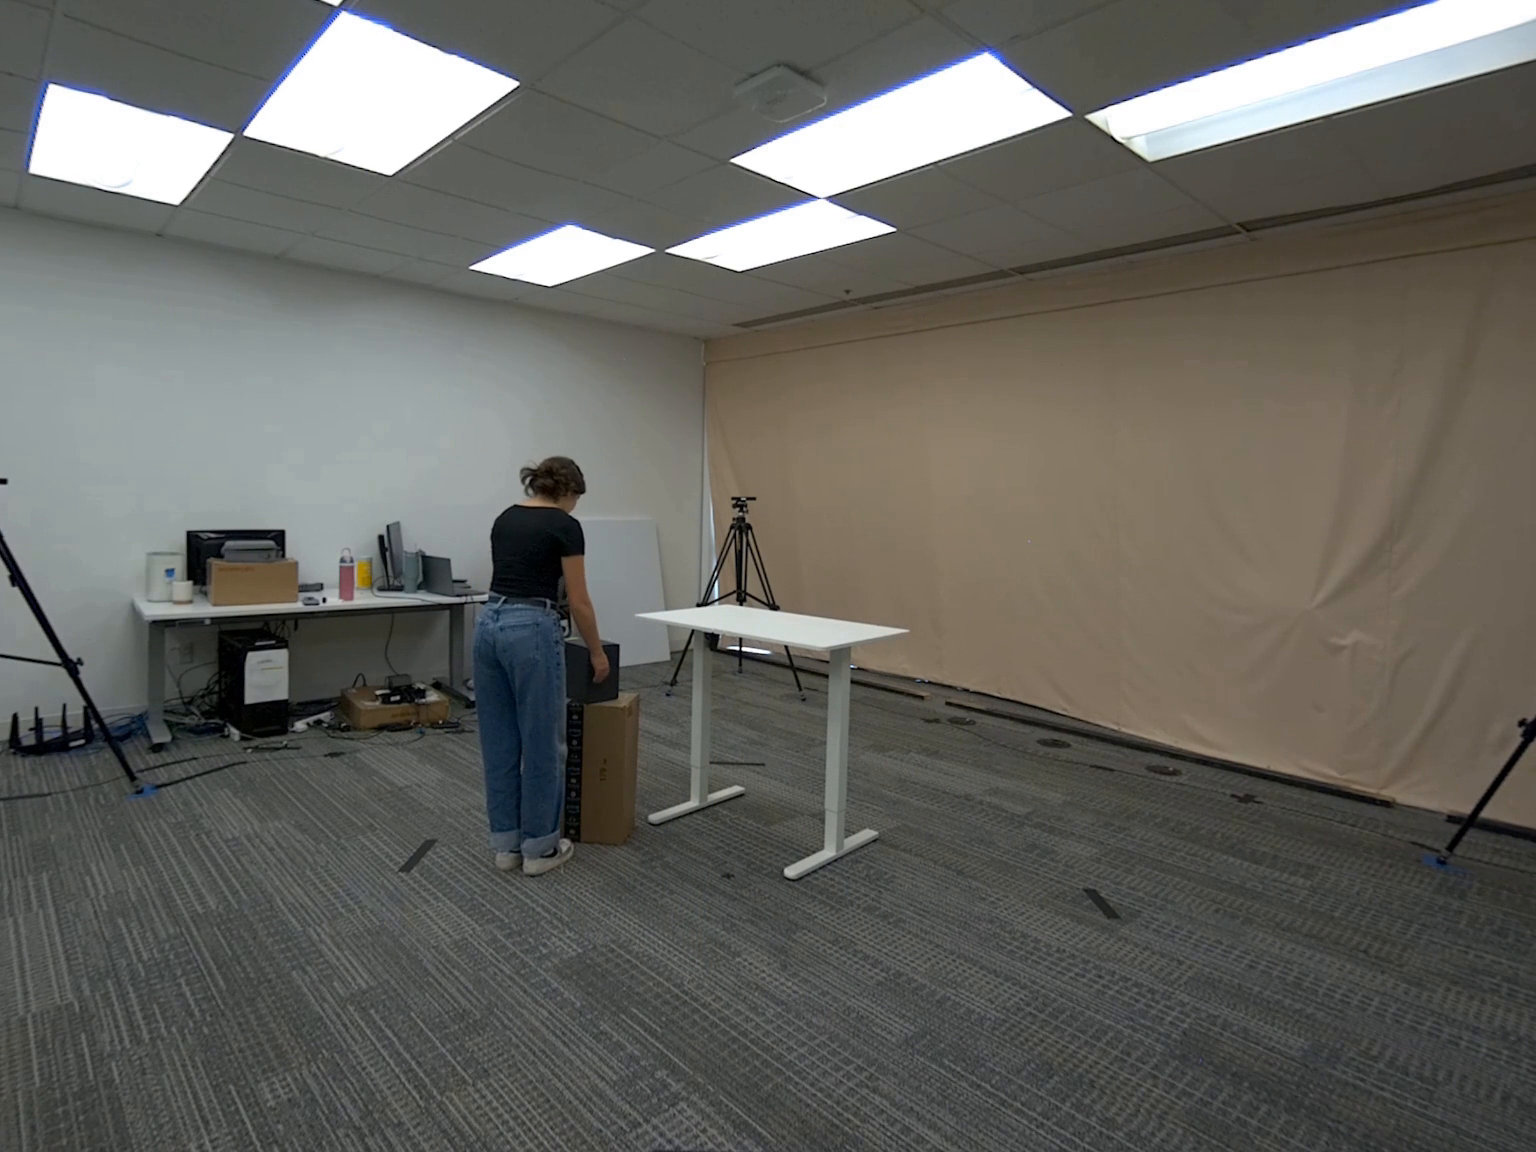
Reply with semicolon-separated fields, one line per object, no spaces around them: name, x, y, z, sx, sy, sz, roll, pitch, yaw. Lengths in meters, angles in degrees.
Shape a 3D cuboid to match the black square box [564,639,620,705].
black square box;-0.737;0.381;3.457;0.152;0.227;0.222;-1;5;-42
